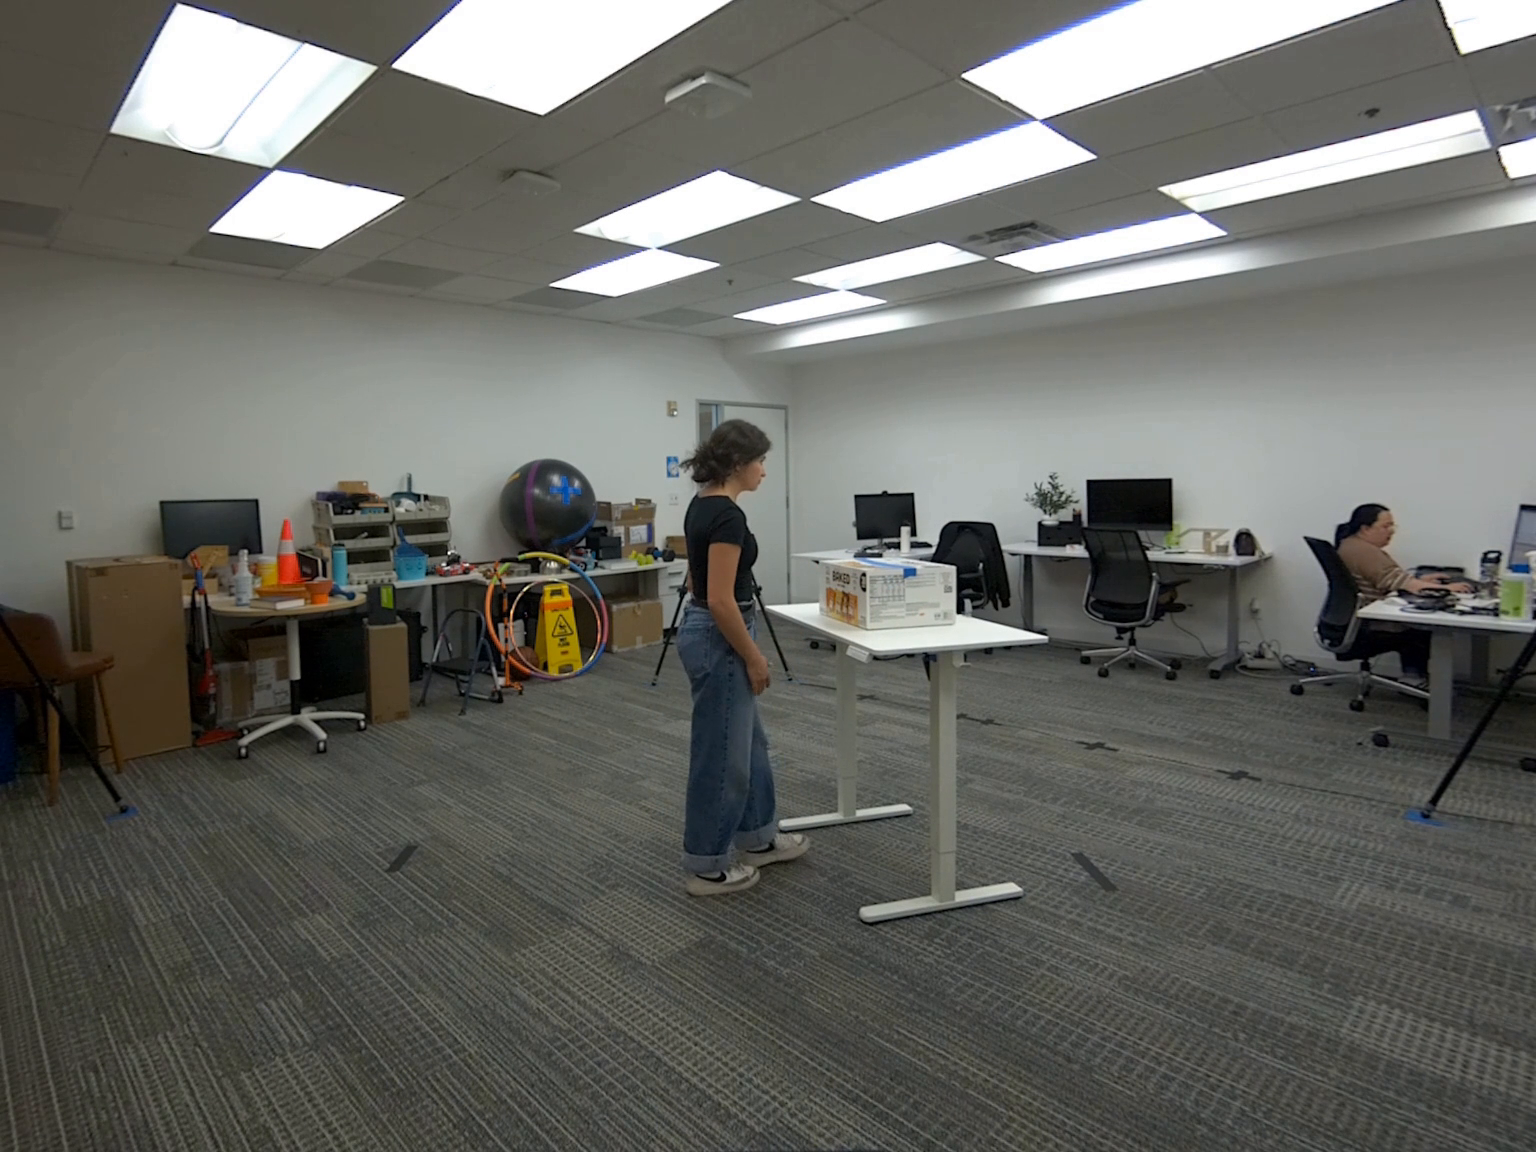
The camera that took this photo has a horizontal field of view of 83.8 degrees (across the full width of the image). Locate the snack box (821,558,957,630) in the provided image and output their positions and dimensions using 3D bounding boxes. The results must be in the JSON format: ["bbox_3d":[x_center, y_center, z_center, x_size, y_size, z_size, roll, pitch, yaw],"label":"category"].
[{"bbox_3d":[0.419,0.055,3.083,0.335,0.205,0.413,-3,6,-18],"label":"snack box"}]
